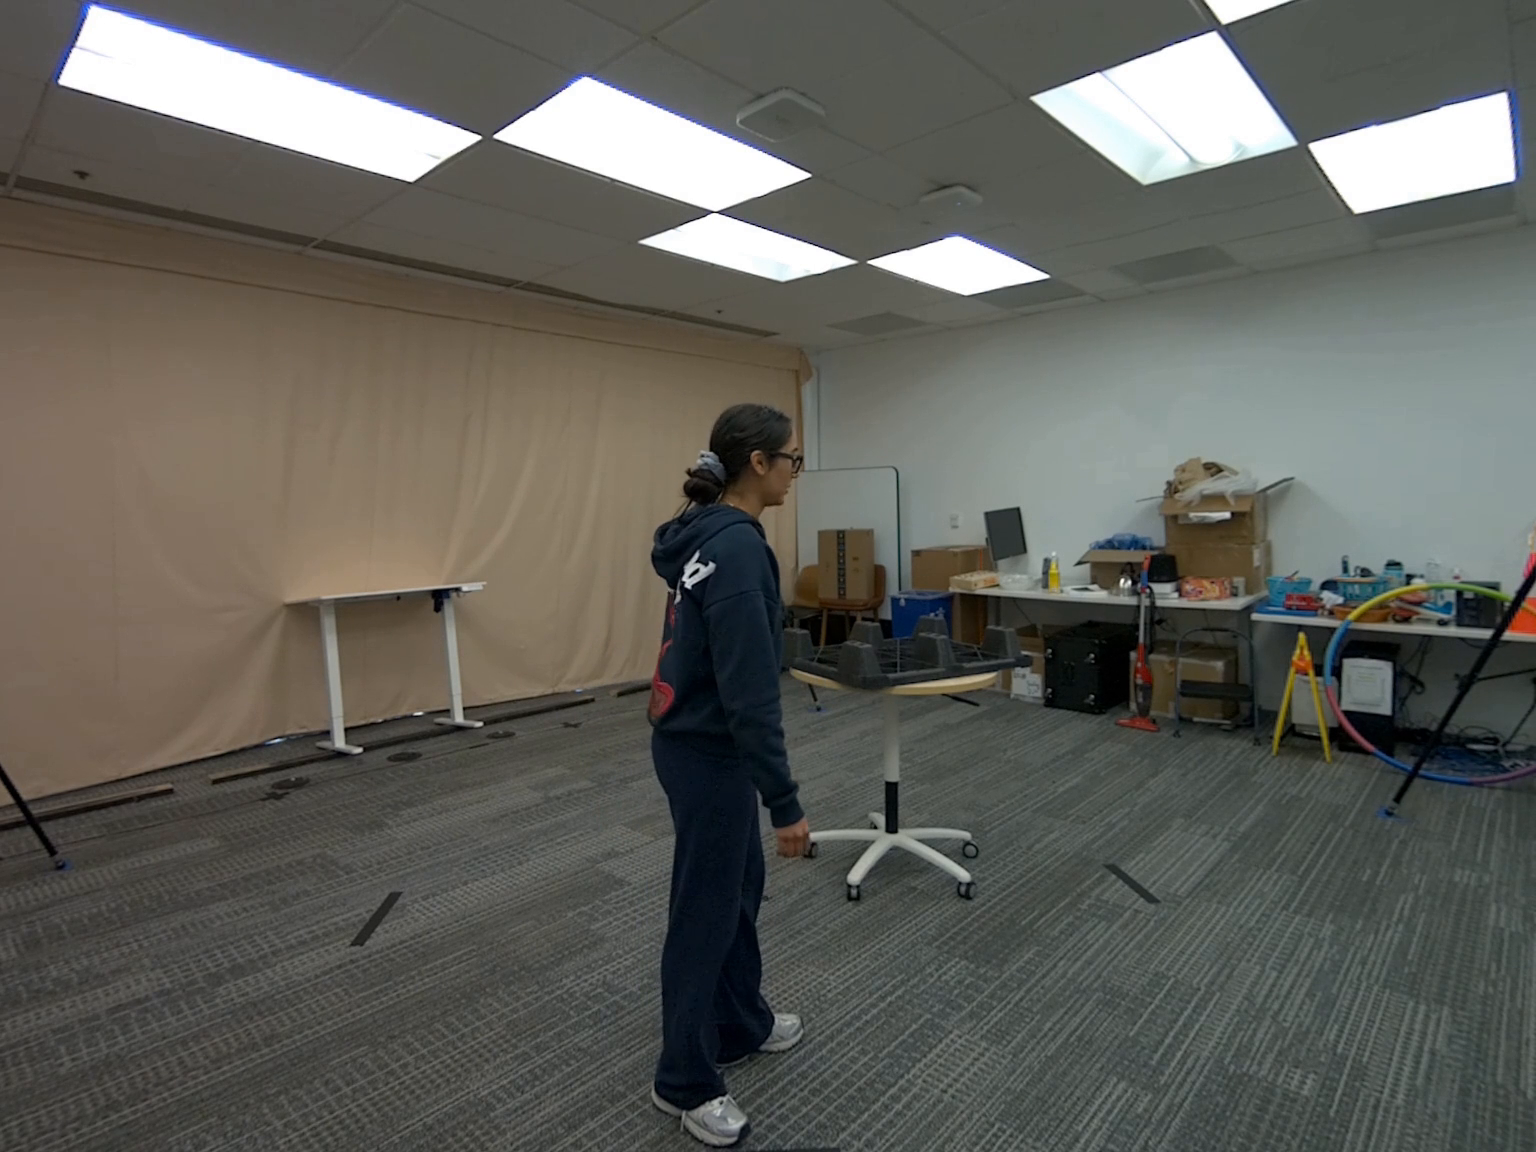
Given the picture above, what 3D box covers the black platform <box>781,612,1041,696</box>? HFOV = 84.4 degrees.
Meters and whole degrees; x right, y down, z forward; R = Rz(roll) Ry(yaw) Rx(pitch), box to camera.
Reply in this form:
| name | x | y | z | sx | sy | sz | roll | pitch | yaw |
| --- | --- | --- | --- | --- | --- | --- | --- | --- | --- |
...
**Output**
| name | x | y | z | sx | sy | sz | roll | pitch | yaw |
| --- | --- | --- | --- | --- | --- | --- | --- | --- | --- |
| black platform | 0.498 | 0.270 | 3.187 | 0.784 | 0.143 | 0.623 | -3 | 6 | -30 |
